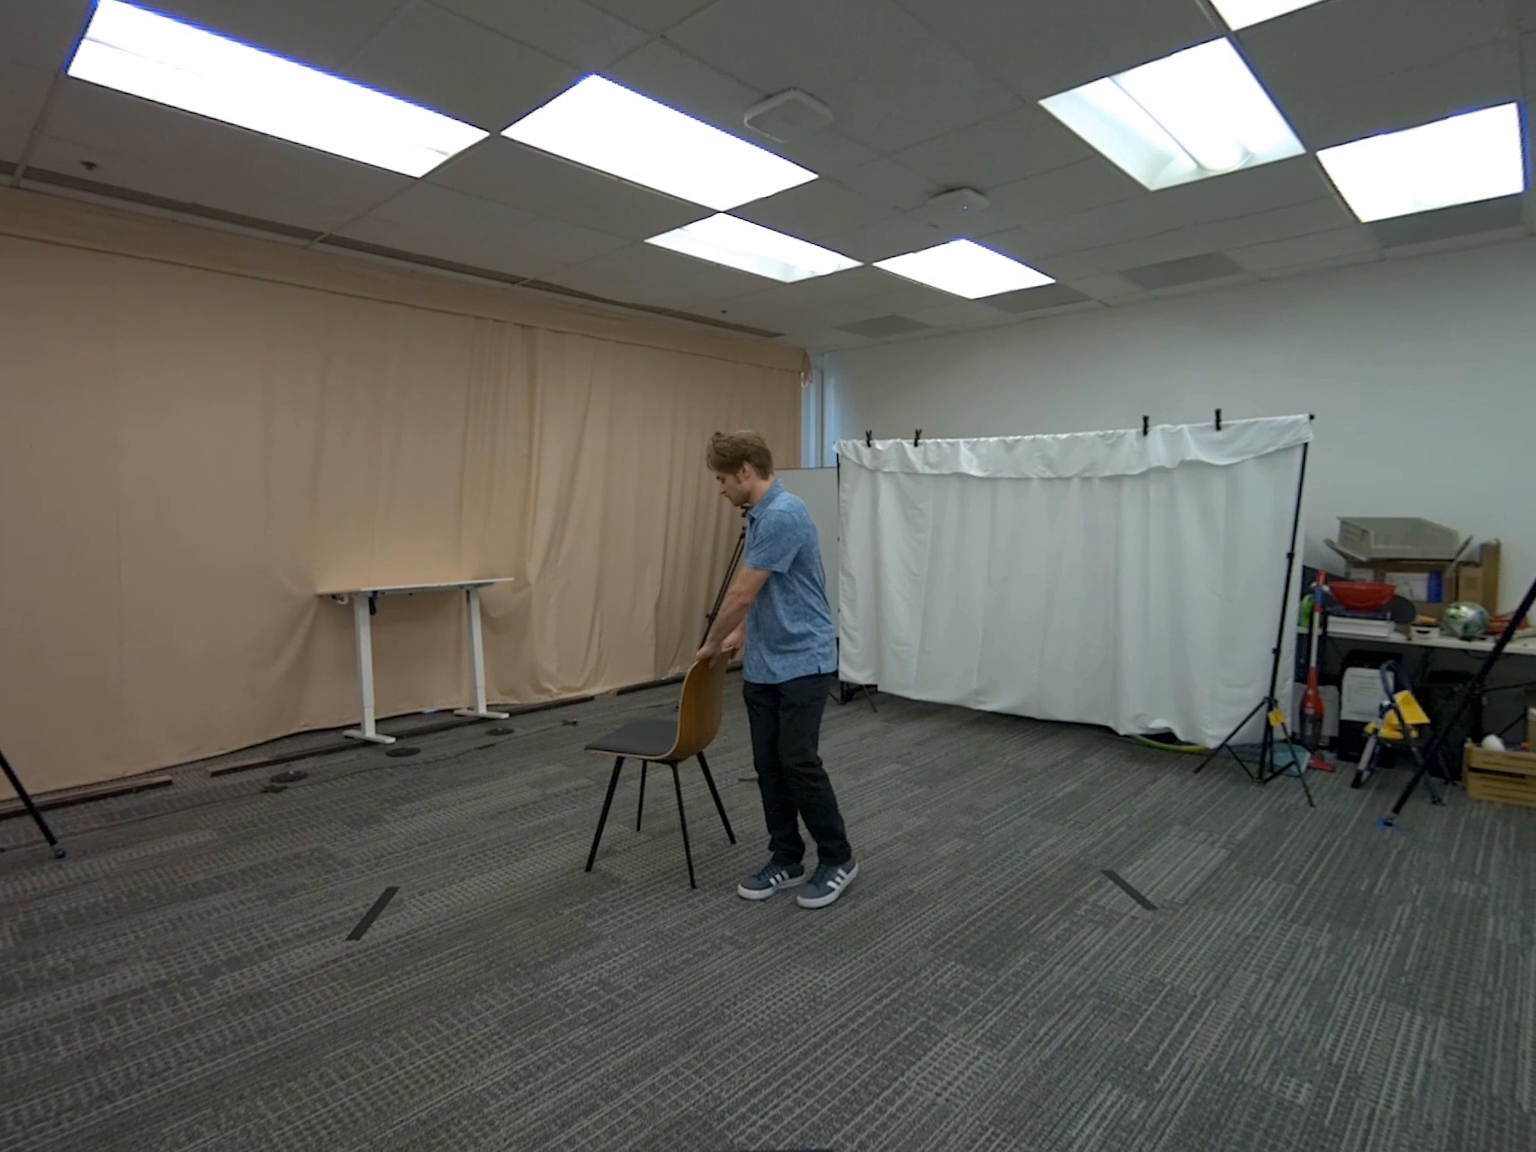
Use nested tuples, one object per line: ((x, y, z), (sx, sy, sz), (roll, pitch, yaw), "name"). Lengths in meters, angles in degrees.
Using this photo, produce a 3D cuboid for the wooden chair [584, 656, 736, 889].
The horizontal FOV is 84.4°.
((-0.426, 0.691, 3.314), (0.535, 0.875, 0.469), (5, 5, 19), "wooden chair")
